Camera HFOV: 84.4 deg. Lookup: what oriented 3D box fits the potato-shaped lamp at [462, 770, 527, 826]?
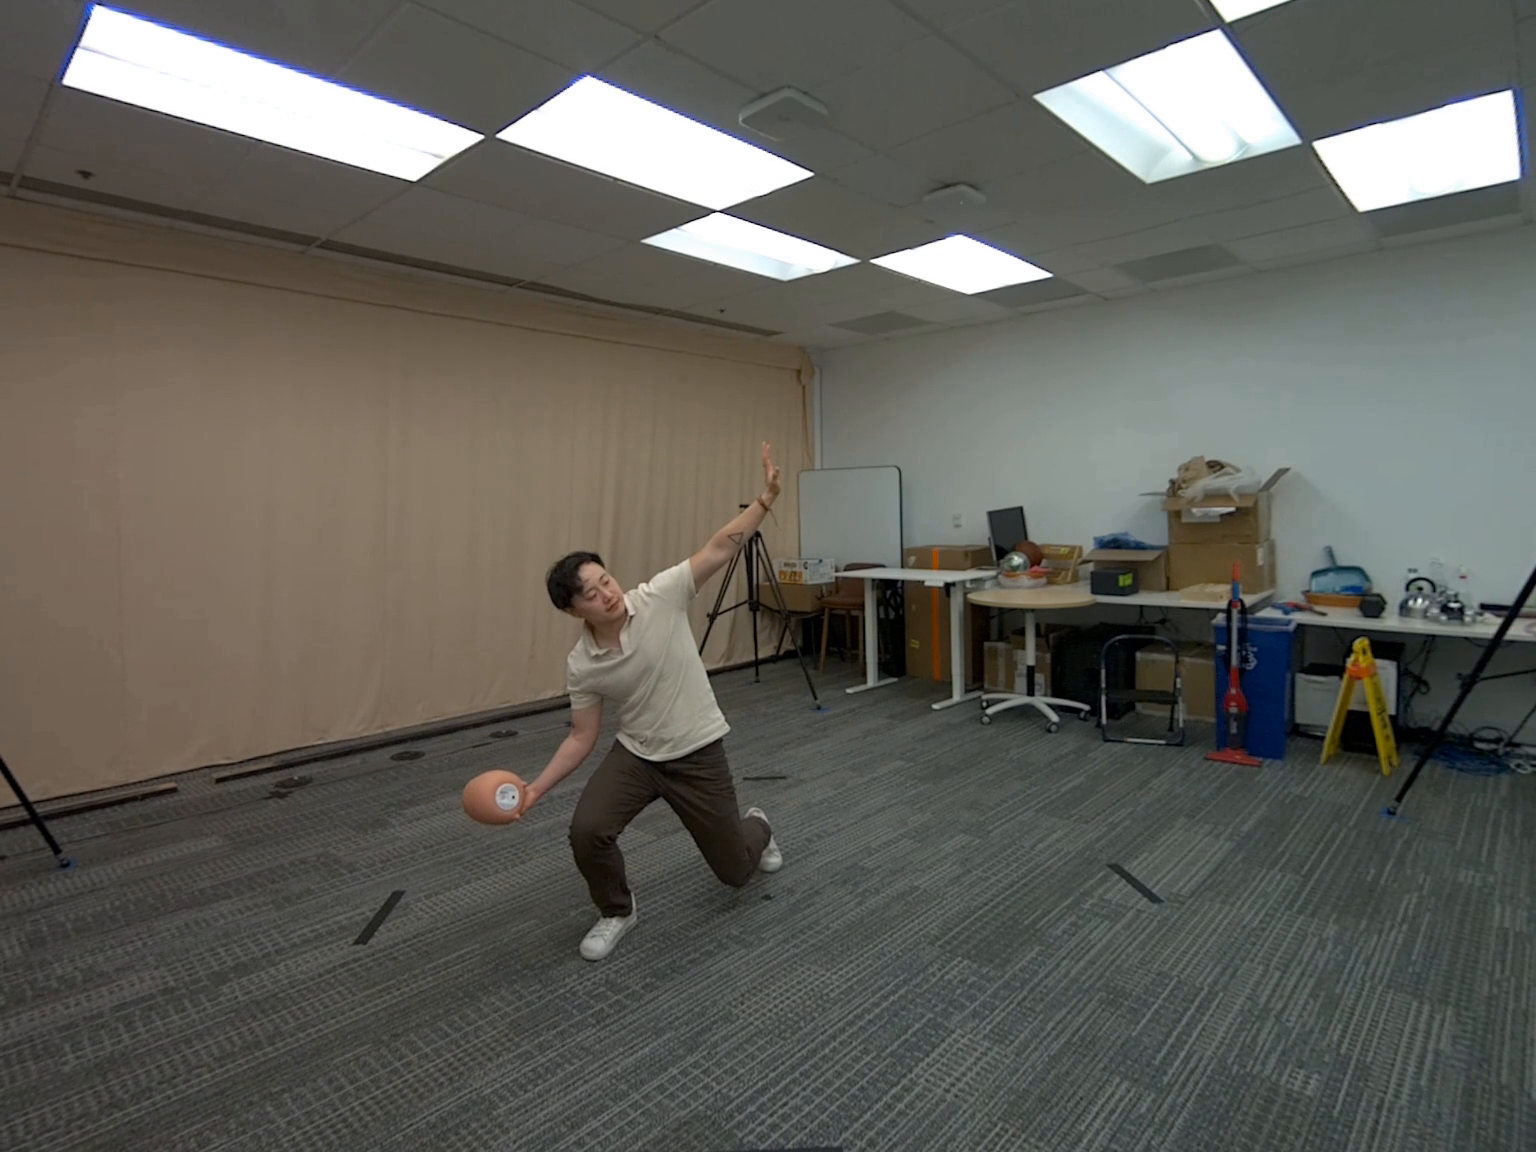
[{"bbox_3d":[-0.876,0.705,2.652,0.166,0.166,0.202,29,-35,-30],"label":"potato-shaped lamp"}]
